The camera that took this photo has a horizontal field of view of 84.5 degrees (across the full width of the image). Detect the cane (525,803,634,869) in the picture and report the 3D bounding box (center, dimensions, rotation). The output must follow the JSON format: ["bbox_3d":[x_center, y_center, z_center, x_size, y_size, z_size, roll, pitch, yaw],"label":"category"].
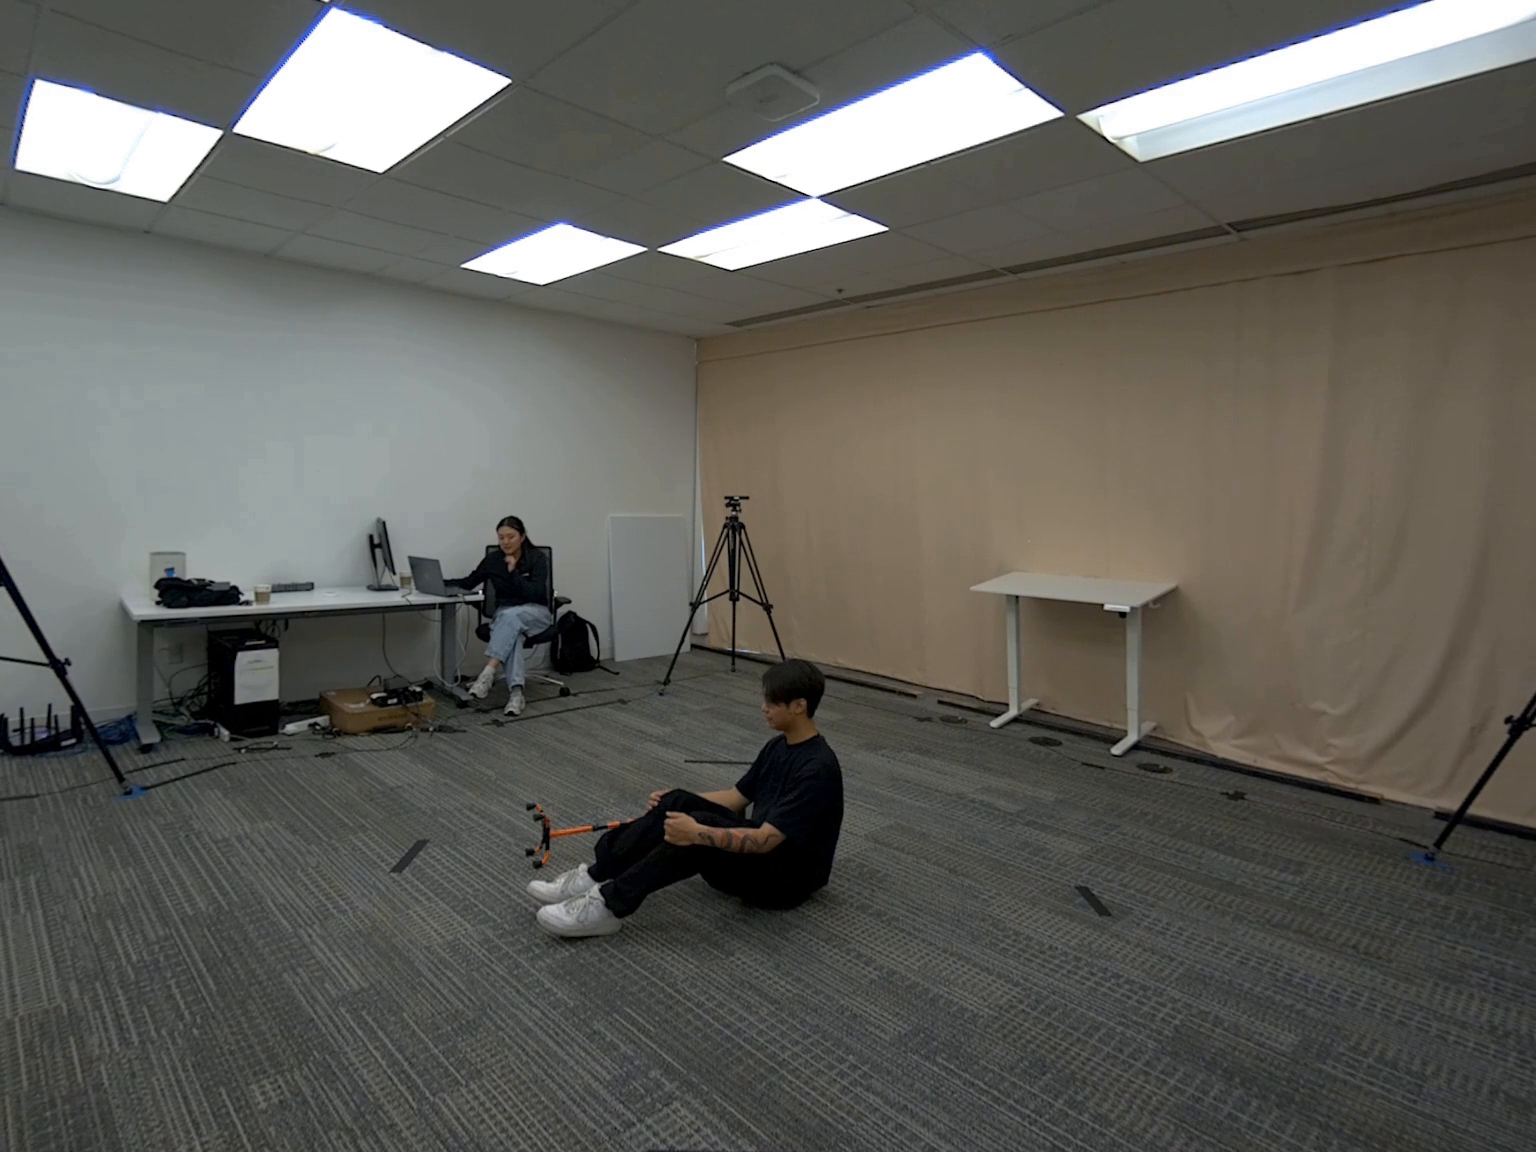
[{"bbox_3d":[-0.503,0.963,3.374,0.891,0.206,0.155,-1,3,-27],"label":"cane"}]
